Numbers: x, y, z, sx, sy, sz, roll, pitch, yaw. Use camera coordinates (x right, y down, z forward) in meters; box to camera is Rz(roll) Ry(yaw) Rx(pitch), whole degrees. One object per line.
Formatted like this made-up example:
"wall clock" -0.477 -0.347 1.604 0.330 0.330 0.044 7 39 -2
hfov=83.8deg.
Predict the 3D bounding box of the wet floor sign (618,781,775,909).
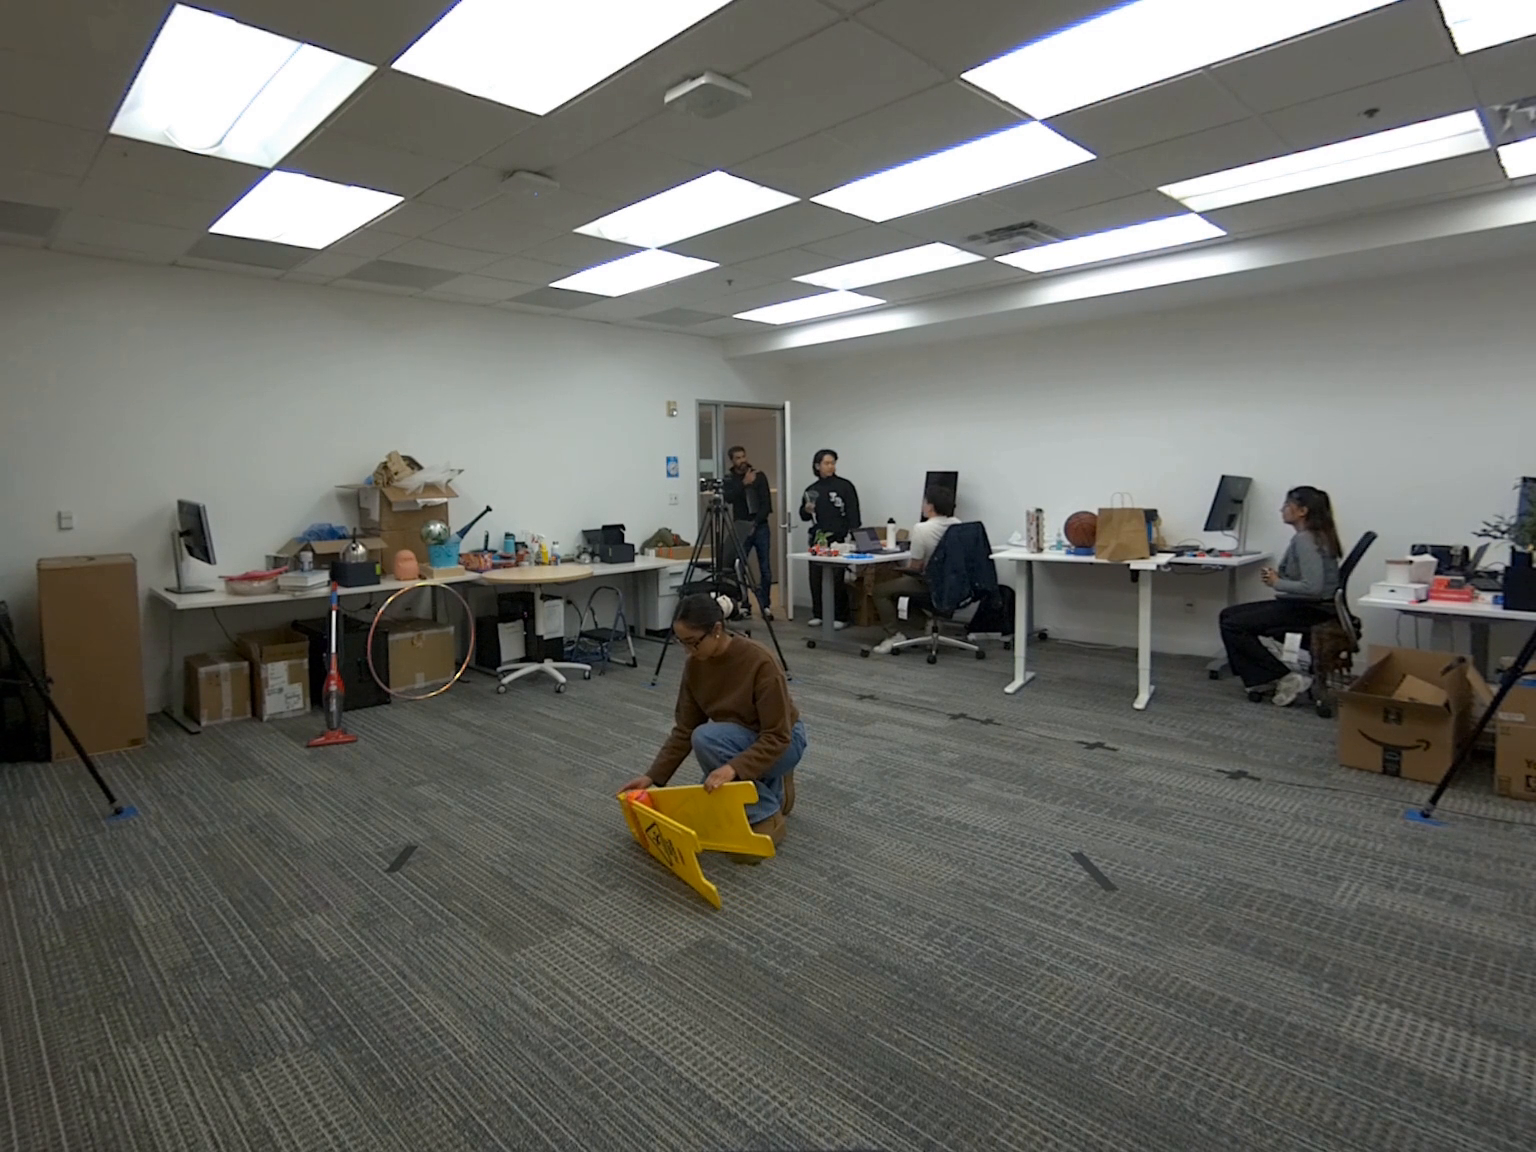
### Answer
"wet floor sign" -0.320 0.908 3.074 0.286 0.279 0.663 -28 15 -40
